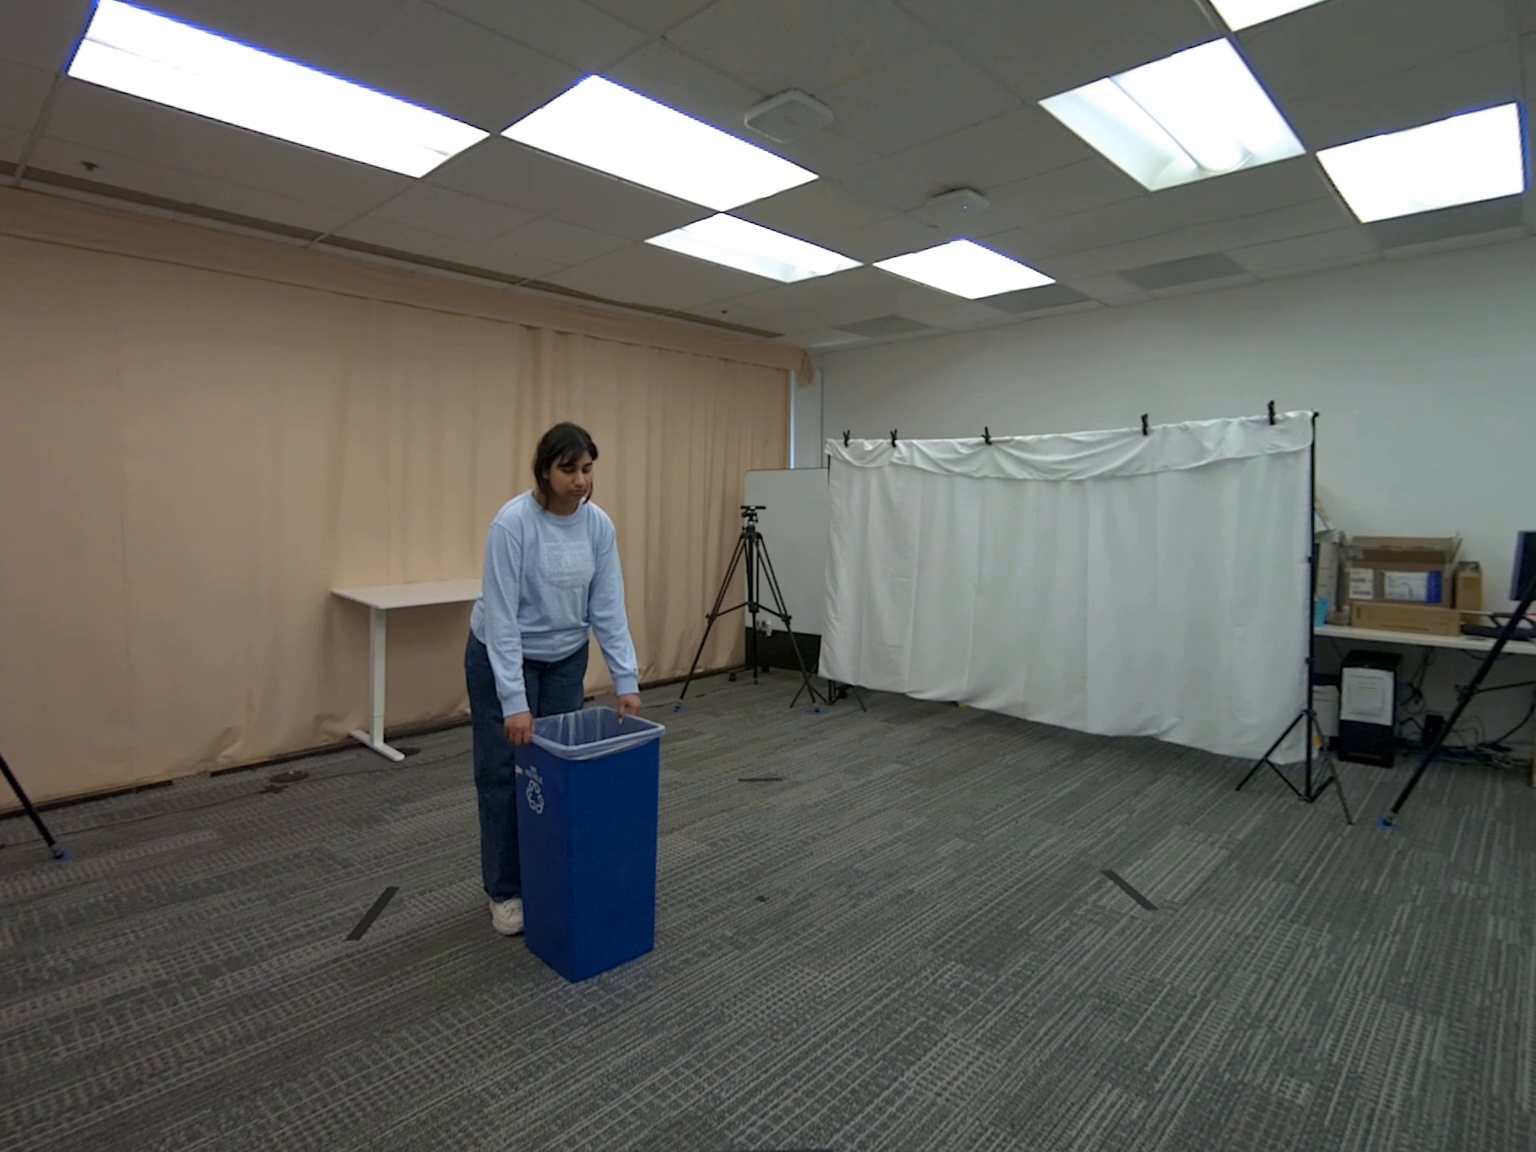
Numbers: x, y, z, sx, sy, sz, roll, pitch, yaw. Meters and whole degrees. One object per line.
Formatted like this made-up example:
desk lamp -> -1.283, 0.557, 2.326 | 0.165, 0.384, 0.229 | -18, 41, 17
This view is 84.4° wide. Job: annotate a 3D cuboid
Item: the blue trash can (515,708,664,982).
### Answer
blue trash can -> -0.559, 0.821, 2.635 | 0.366, 0.712, 0.386 | -4, 5, -43
